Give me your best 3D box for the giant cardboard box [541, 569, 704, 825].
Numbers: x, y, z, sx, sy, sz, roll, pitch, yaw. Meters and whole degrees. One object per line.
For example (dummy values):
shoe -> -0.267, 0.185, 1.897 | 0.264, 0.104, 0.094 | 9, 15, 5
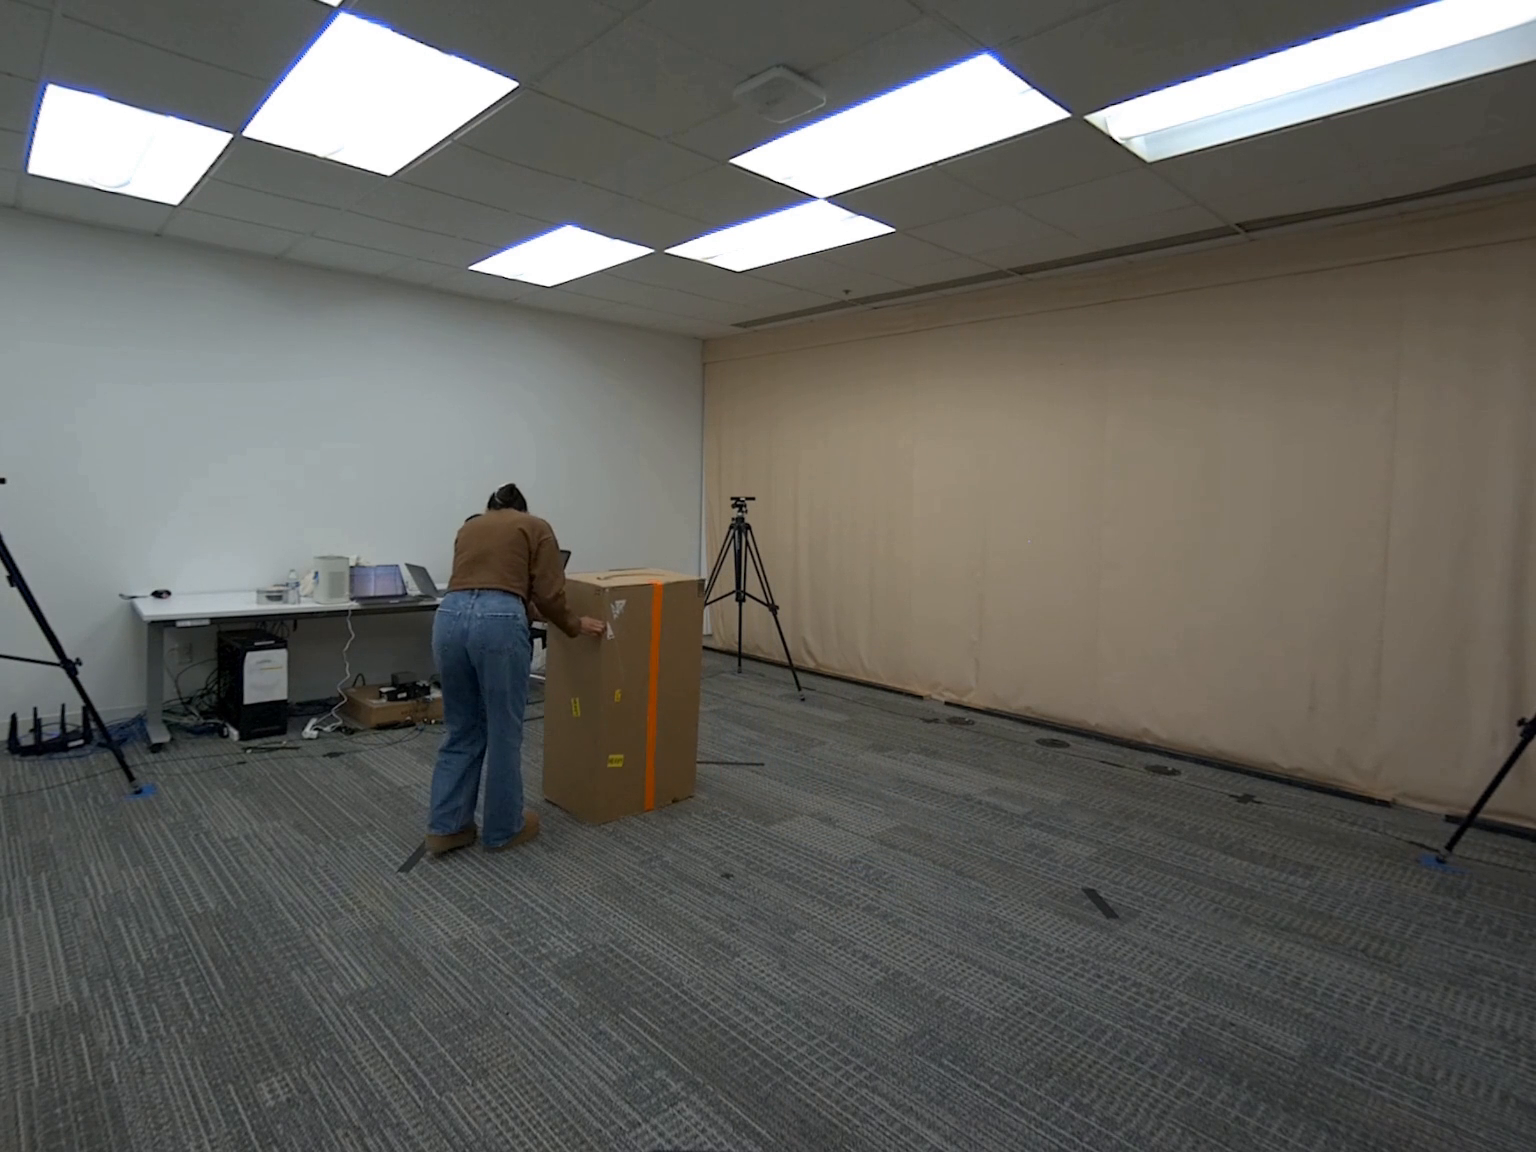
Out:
giant cardboard box -> -0.662, 0.512, 3.851 | 0.437, 1.022, 0.564 | 8, 8, 44
